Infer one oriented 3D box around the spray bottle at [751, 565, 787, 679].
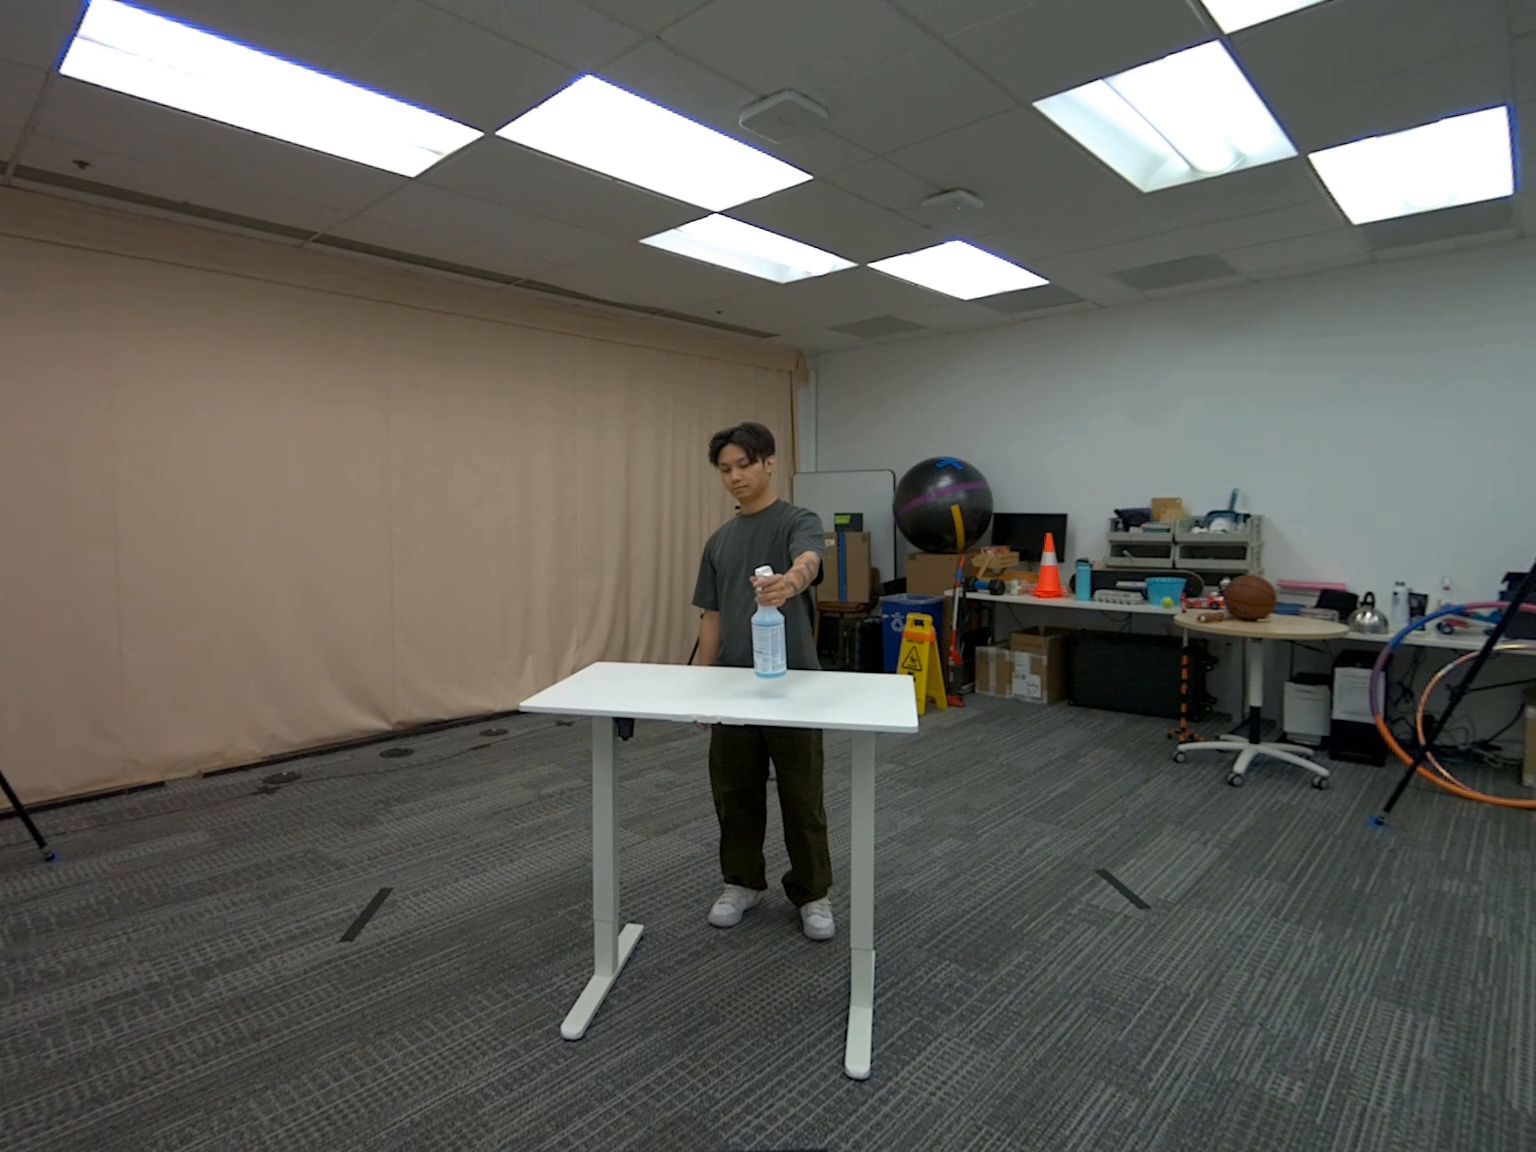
[{"bbox_3d":[0.000,0.121,2.236,0.087,0.295,0.090,-12,13,-39],"label":"spray bottle"}]
